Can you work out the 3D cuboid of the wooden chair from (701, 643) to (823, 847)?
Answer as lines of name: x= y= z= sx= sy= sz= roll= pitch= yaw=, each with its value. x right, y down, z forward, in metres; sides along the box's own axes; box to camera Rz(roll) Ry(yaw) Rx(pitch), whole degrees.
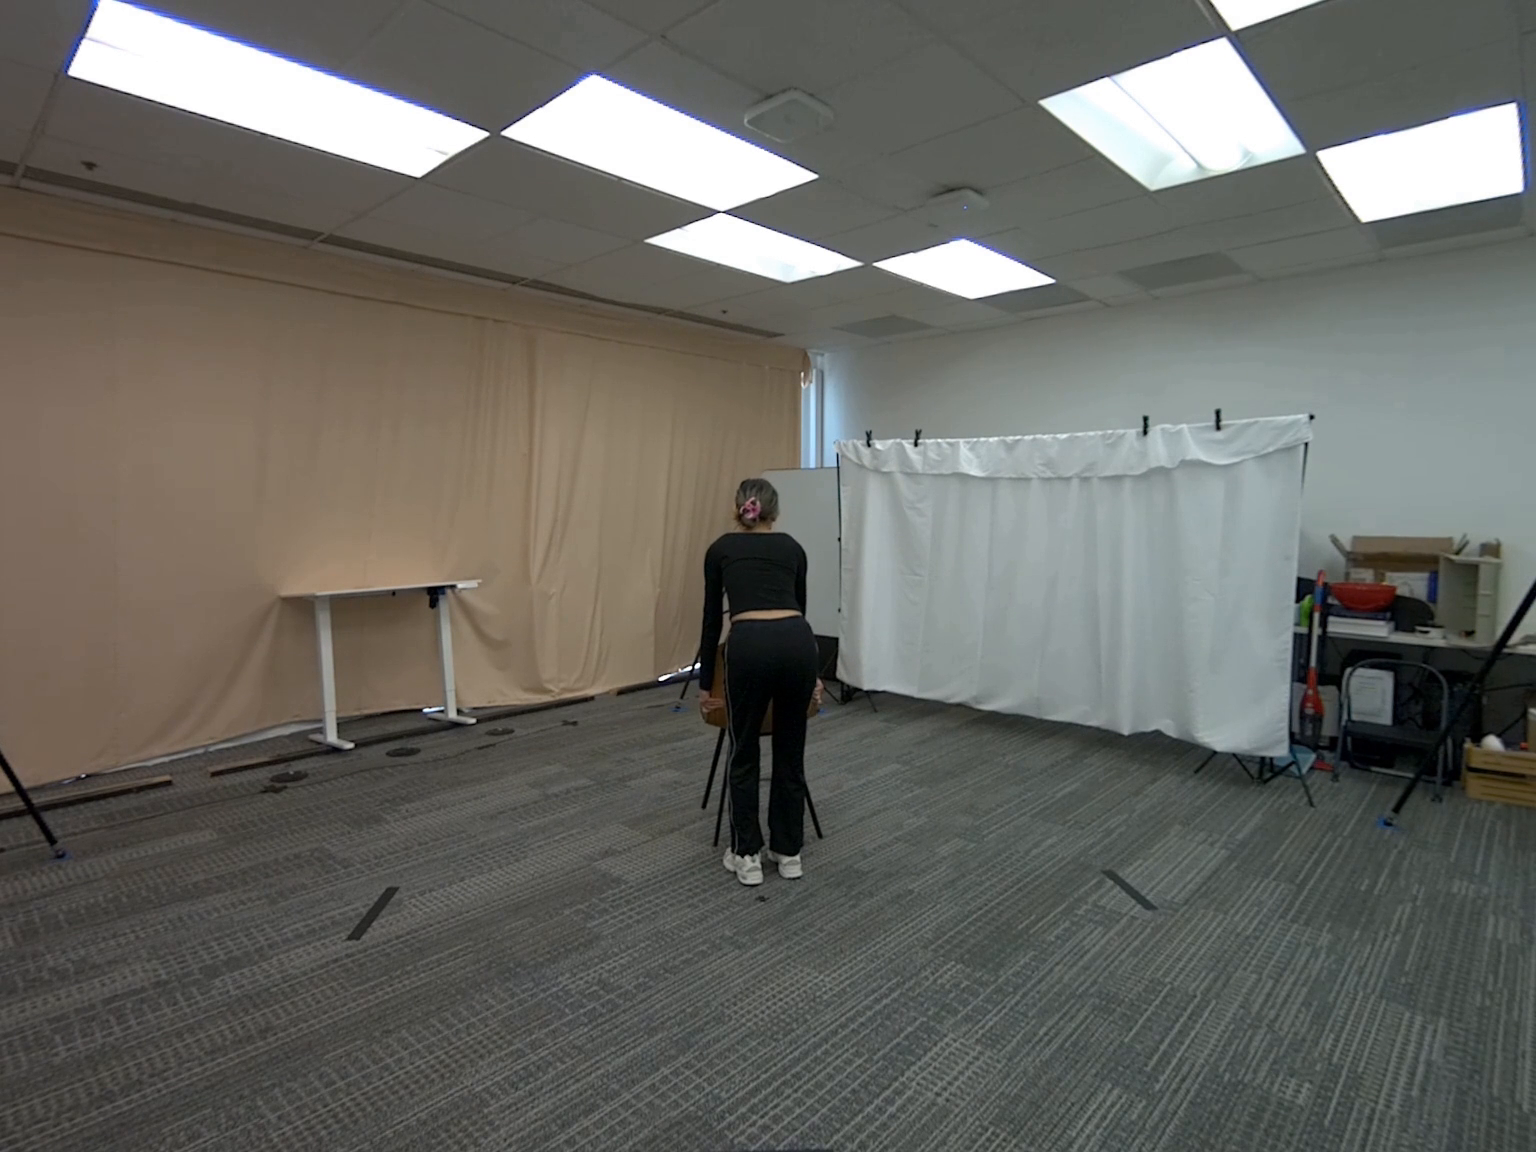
wooden chair: x=-0.053 y=0.633 z=3.606 sx=0.474 sy=0.873 sz=0.530 roll=-2 pitch=7 yaw=-9
